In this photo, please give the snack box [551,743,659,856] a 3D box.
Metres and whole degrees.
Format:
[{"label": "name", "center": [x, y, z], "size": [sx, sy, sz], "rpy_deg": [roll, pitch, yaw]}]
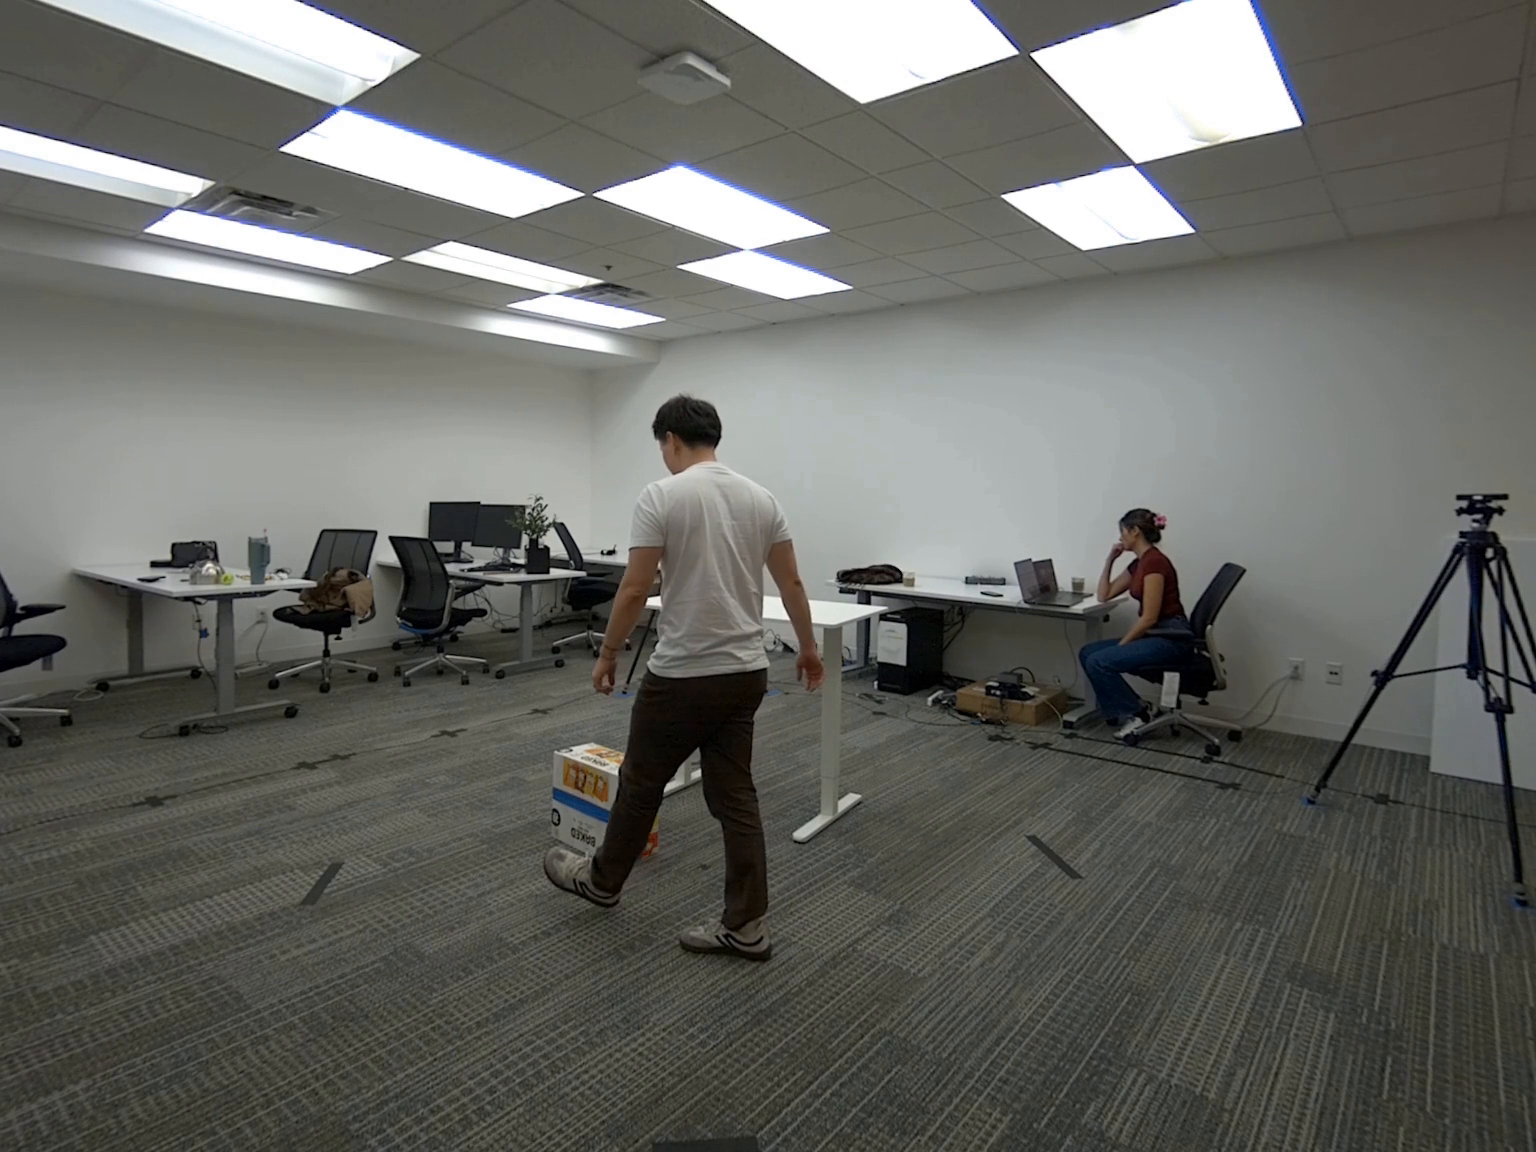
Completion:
[{"label": "snack box", "center": [-0.650, 0.874, 3.297], "size": [0.419, 0.340, 0.199], "rpy_deg": [5, 4, 42]}]
